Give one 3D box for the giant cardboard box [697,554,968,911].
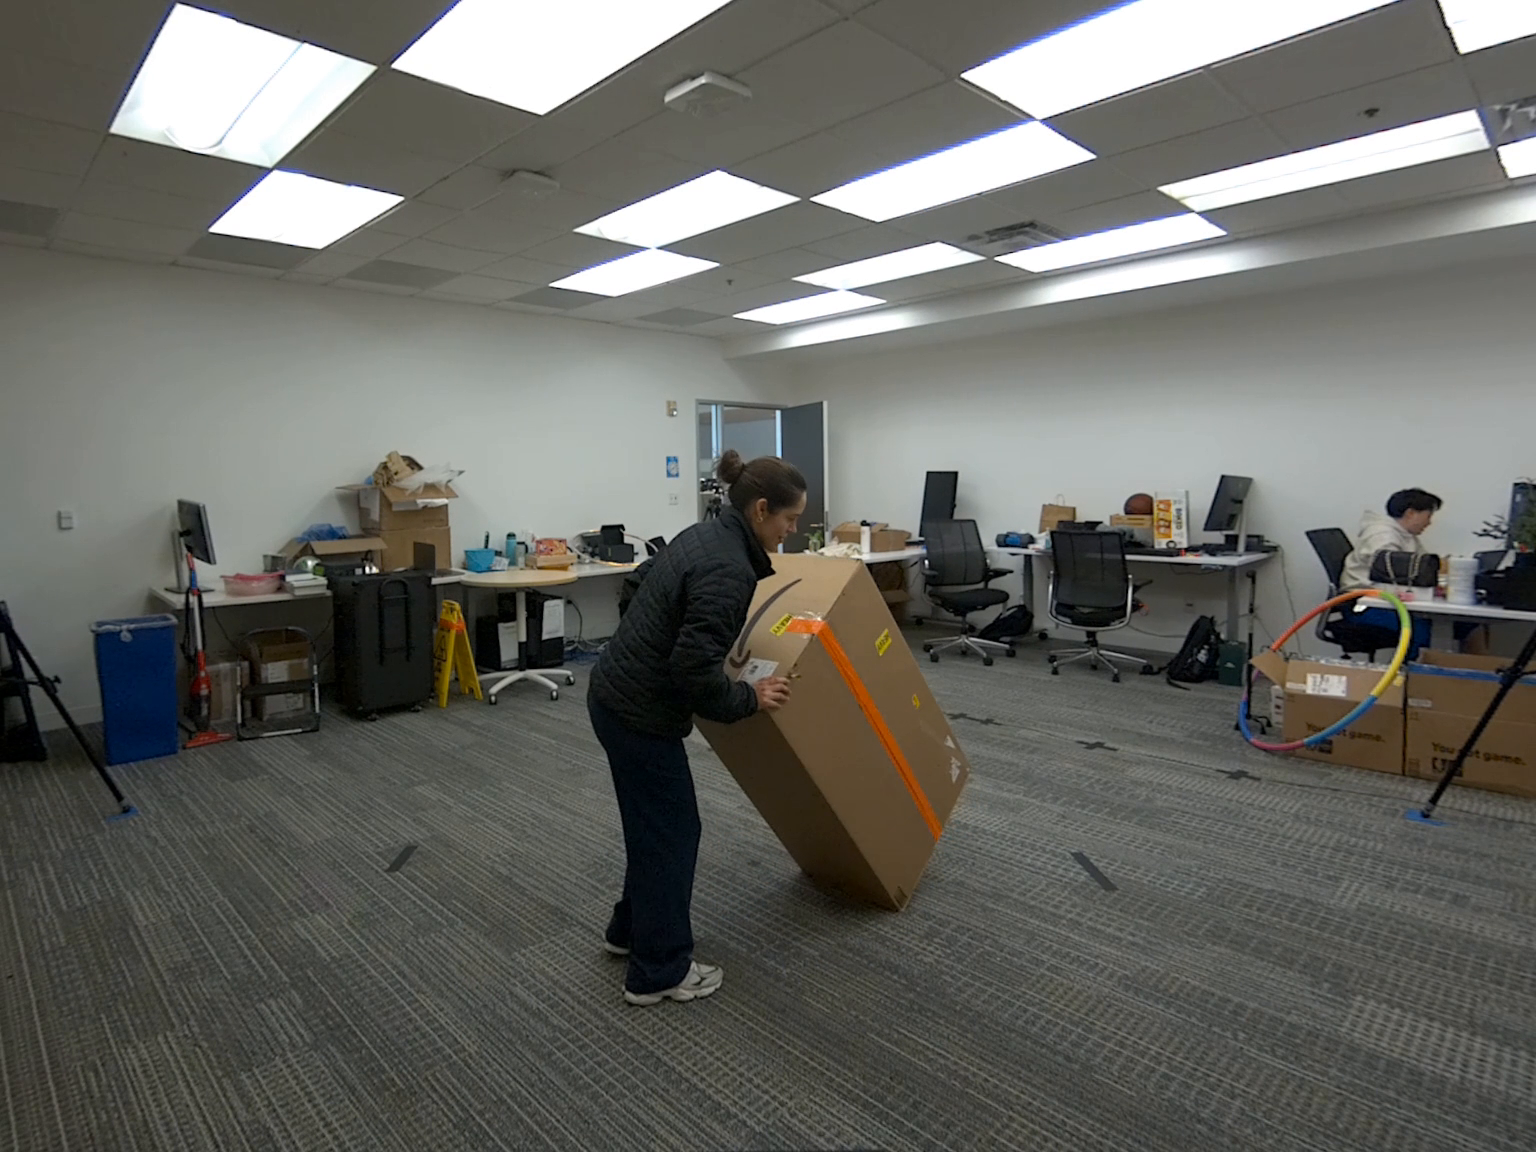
[{"bbox_3d":[0.203,0.499,2.806,0.461,0.993,0.585,4,45,44],"label":"giant cardboard box"}]
